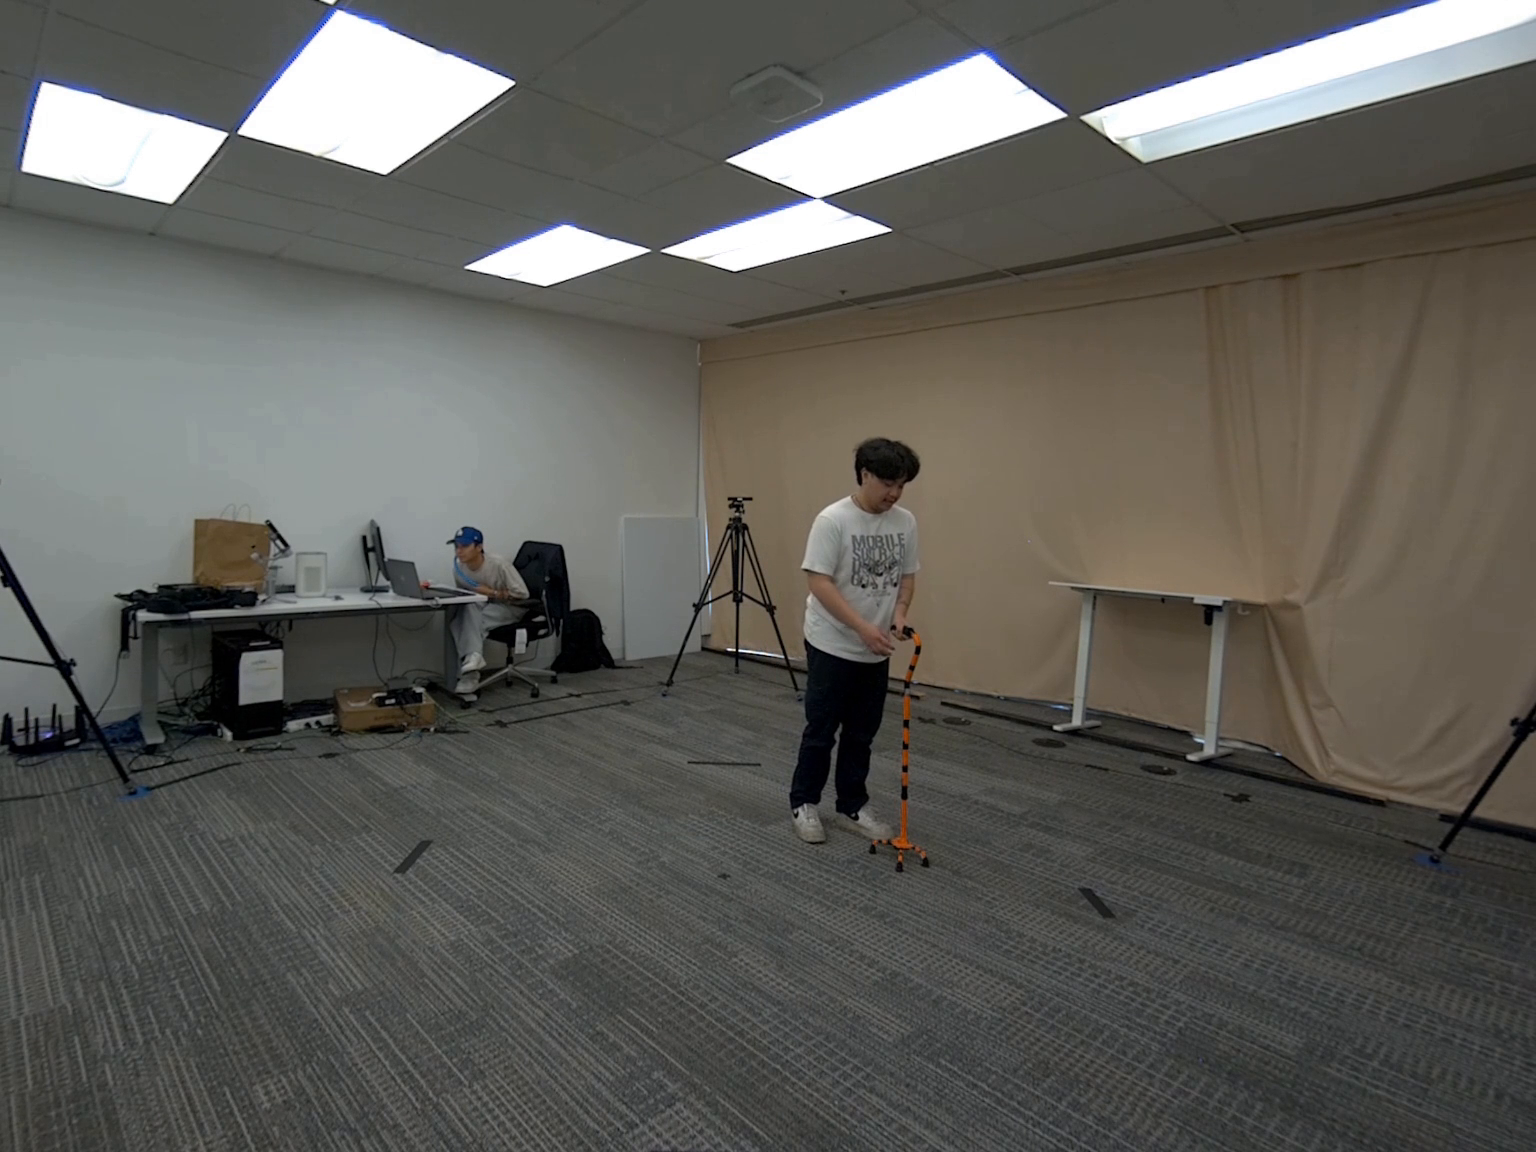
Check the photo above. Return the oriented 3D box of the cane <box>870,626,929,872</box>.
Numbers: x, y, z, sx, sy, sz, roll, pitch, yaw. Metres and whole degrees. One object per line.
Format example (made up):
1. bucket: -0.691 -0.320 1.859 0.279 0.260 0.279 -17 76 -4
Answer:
1. cane: 0.508 0.655 3.268 0.149 0.906 0.211 0 3 -27
